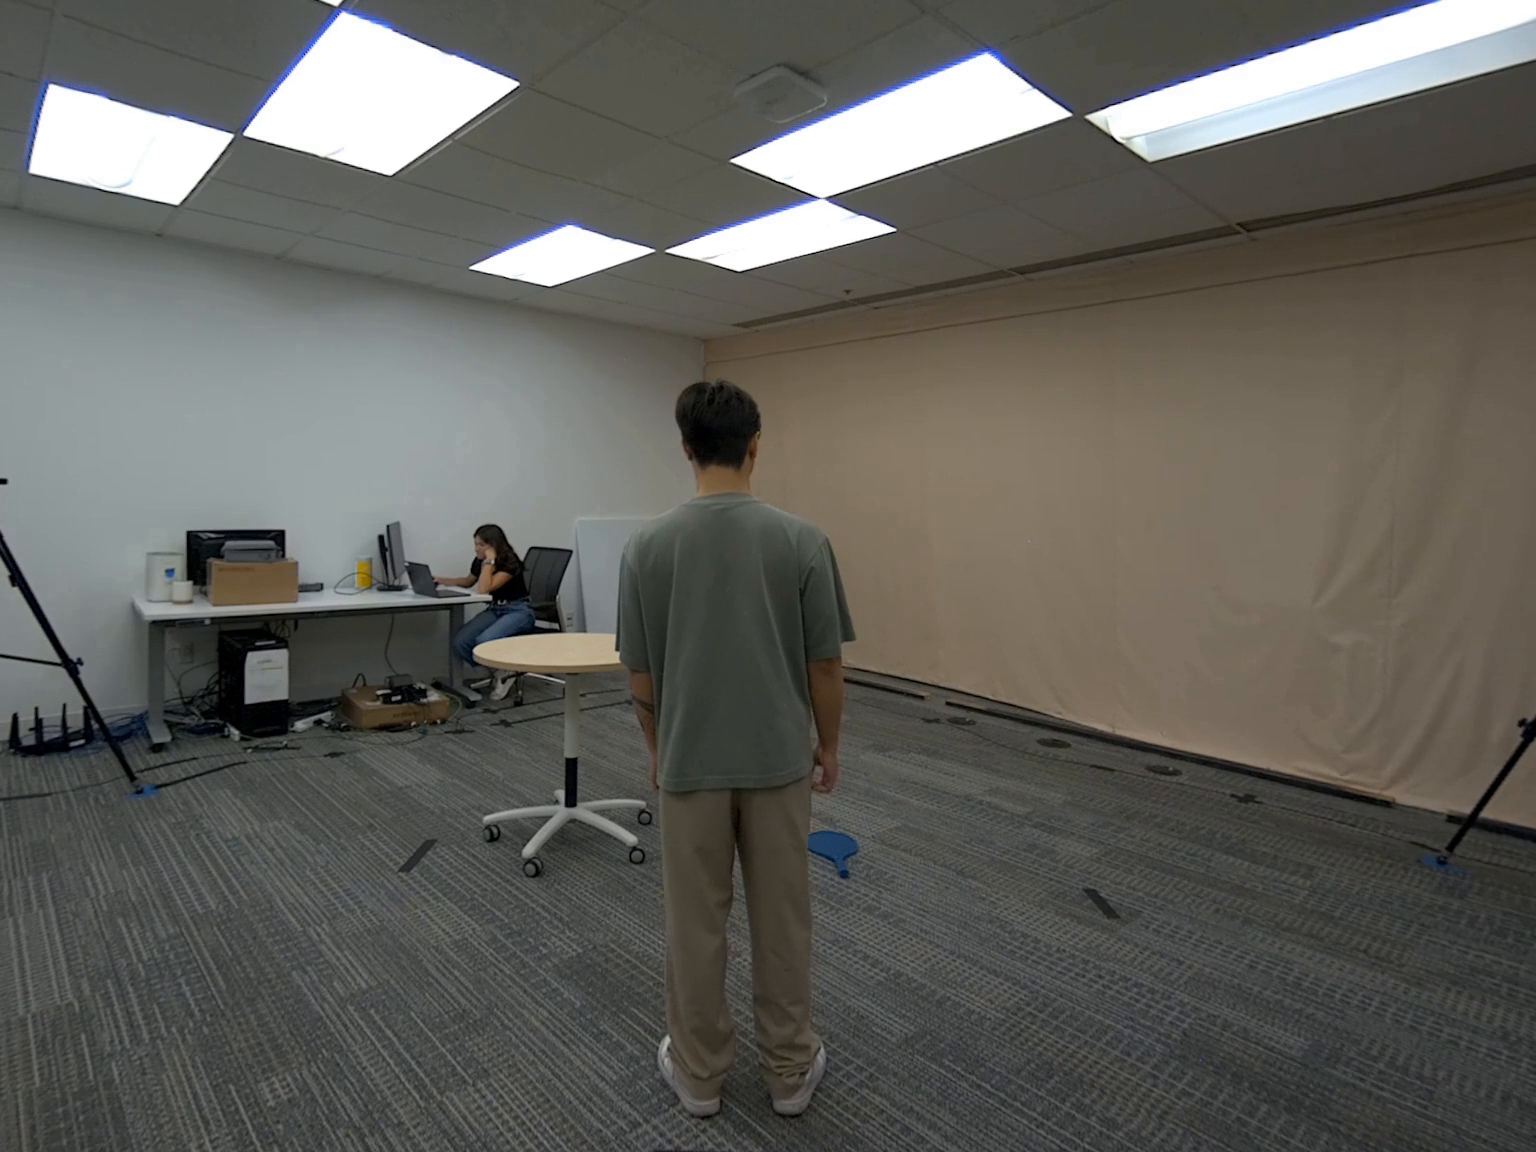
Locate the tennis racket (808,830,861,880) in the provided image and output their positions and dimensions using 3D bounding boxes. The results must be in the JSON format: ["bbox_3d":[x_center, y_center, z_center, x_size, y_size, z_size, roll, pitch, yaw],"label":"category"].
[{"bbox_3d":[0.255,1.083,3.317,0.213,0.032,0.436,1,4,-6],"label":"tennis racket"}]
